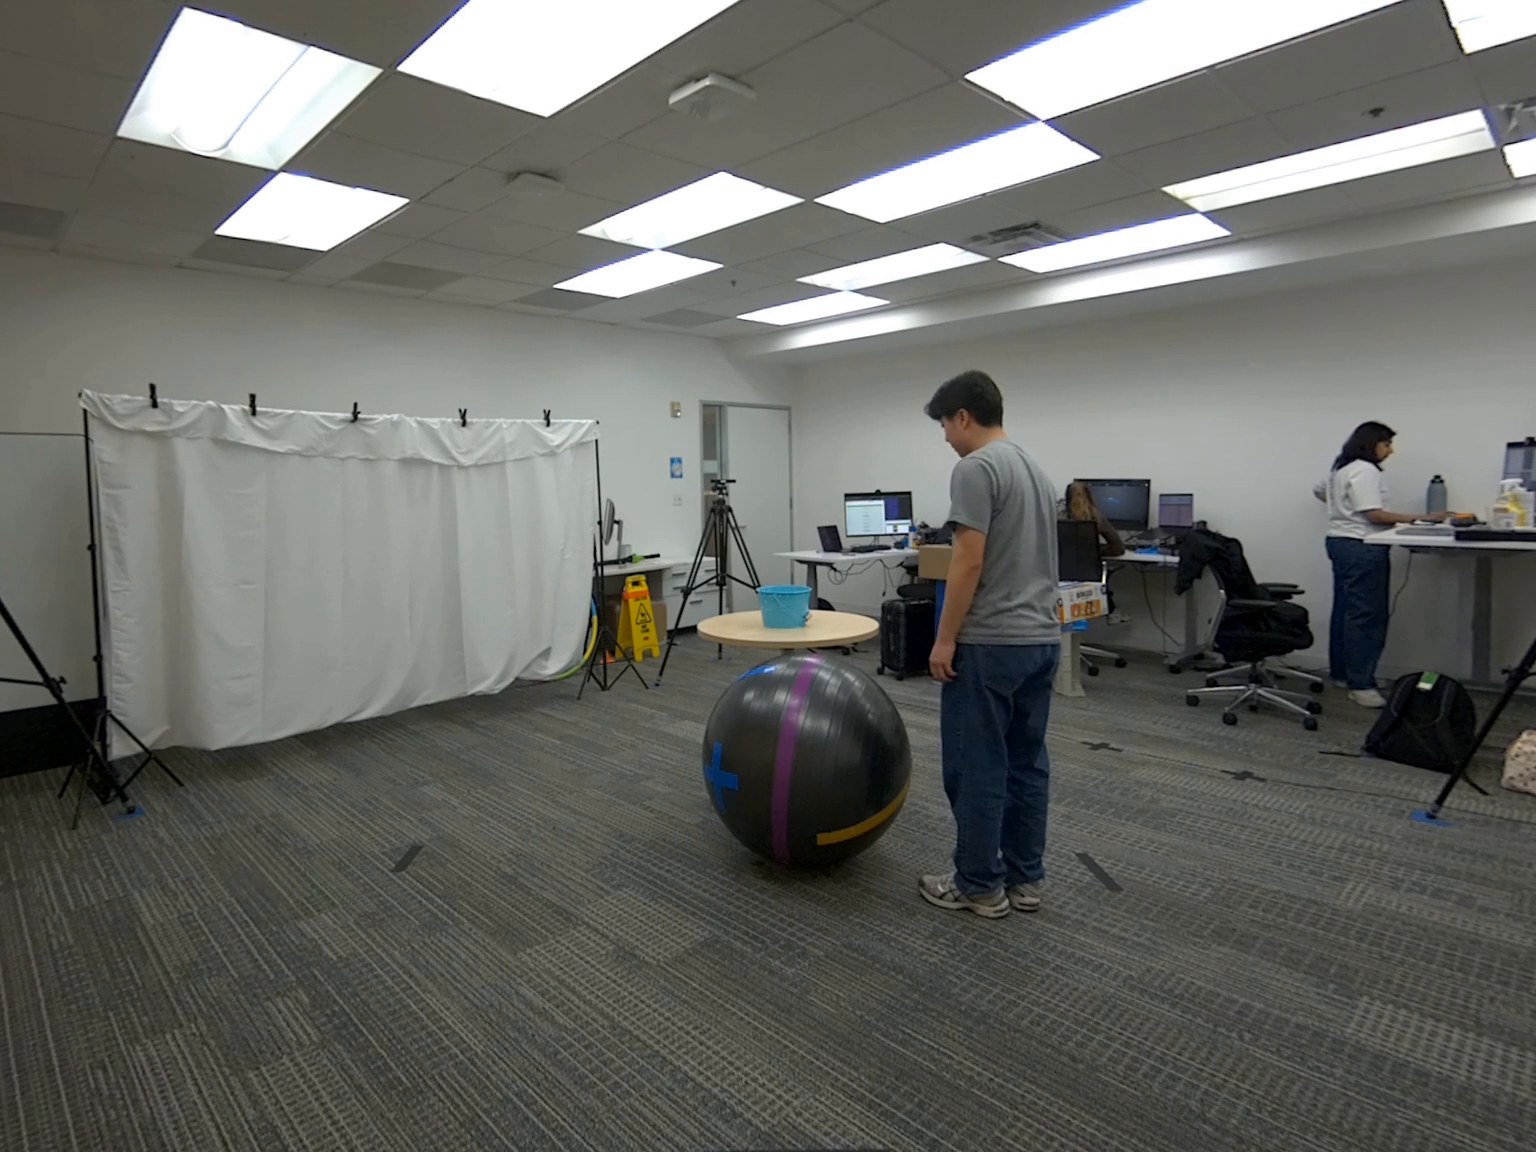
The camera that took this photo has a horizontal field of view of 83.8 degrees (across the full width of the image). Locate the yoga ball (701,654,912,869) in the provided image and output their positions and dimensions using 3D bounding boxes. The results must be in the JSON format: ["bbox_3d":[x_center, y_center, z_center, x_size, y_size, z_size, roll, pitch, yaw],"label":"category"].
[{"bbox_3d":[0.134,0.675,3.139,0.757,0.755,0.762,-1,5,-2],"label":"yoga ball"}]
